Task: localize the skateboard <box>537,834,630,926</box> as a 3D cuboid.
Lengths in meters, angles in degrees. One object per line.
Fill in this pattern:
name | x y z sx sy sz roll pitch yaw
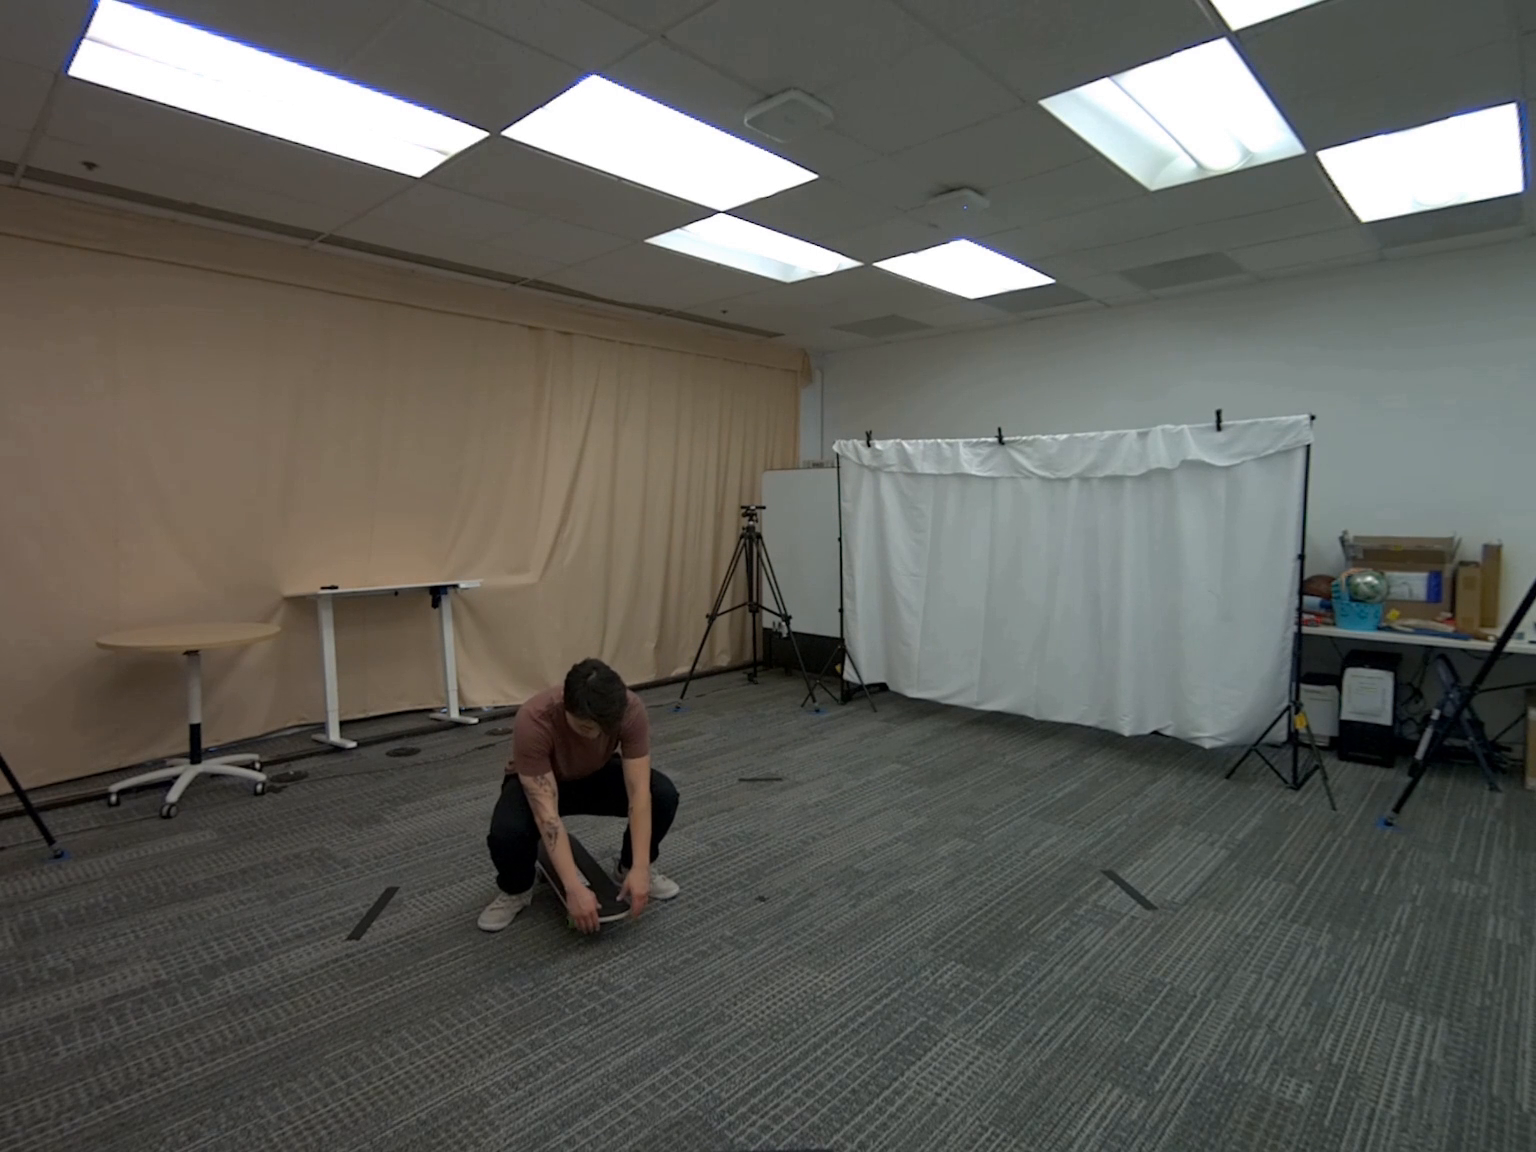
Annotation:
skateboard | -0.684 1.084 2.995 0.188 0.110 0.808 -2 5 -29
